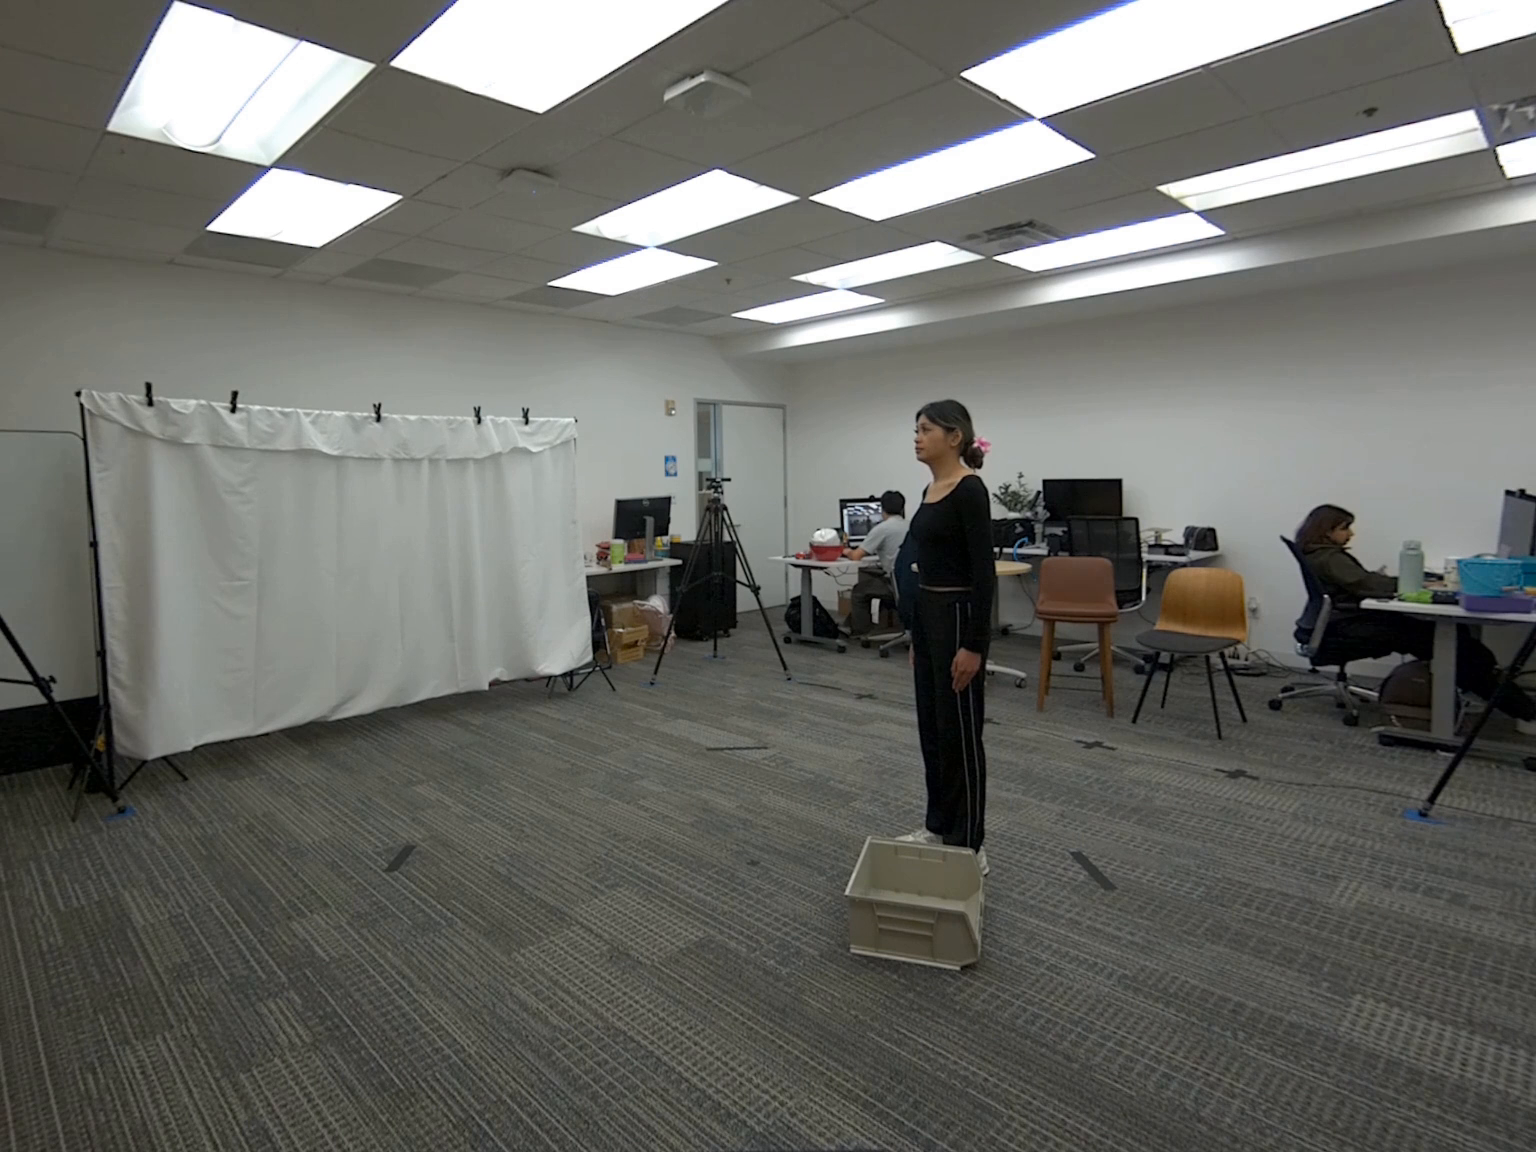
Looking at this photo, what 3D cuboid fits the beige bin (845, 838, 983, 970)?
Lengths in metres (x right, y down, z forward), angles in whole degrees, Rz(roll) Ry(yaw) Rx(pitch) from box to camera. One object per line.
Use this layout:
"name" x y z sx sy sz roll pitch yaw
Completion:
"beige bin" 0.472 1.002 2.635 0.384 0.188 0.417 0 6 18
